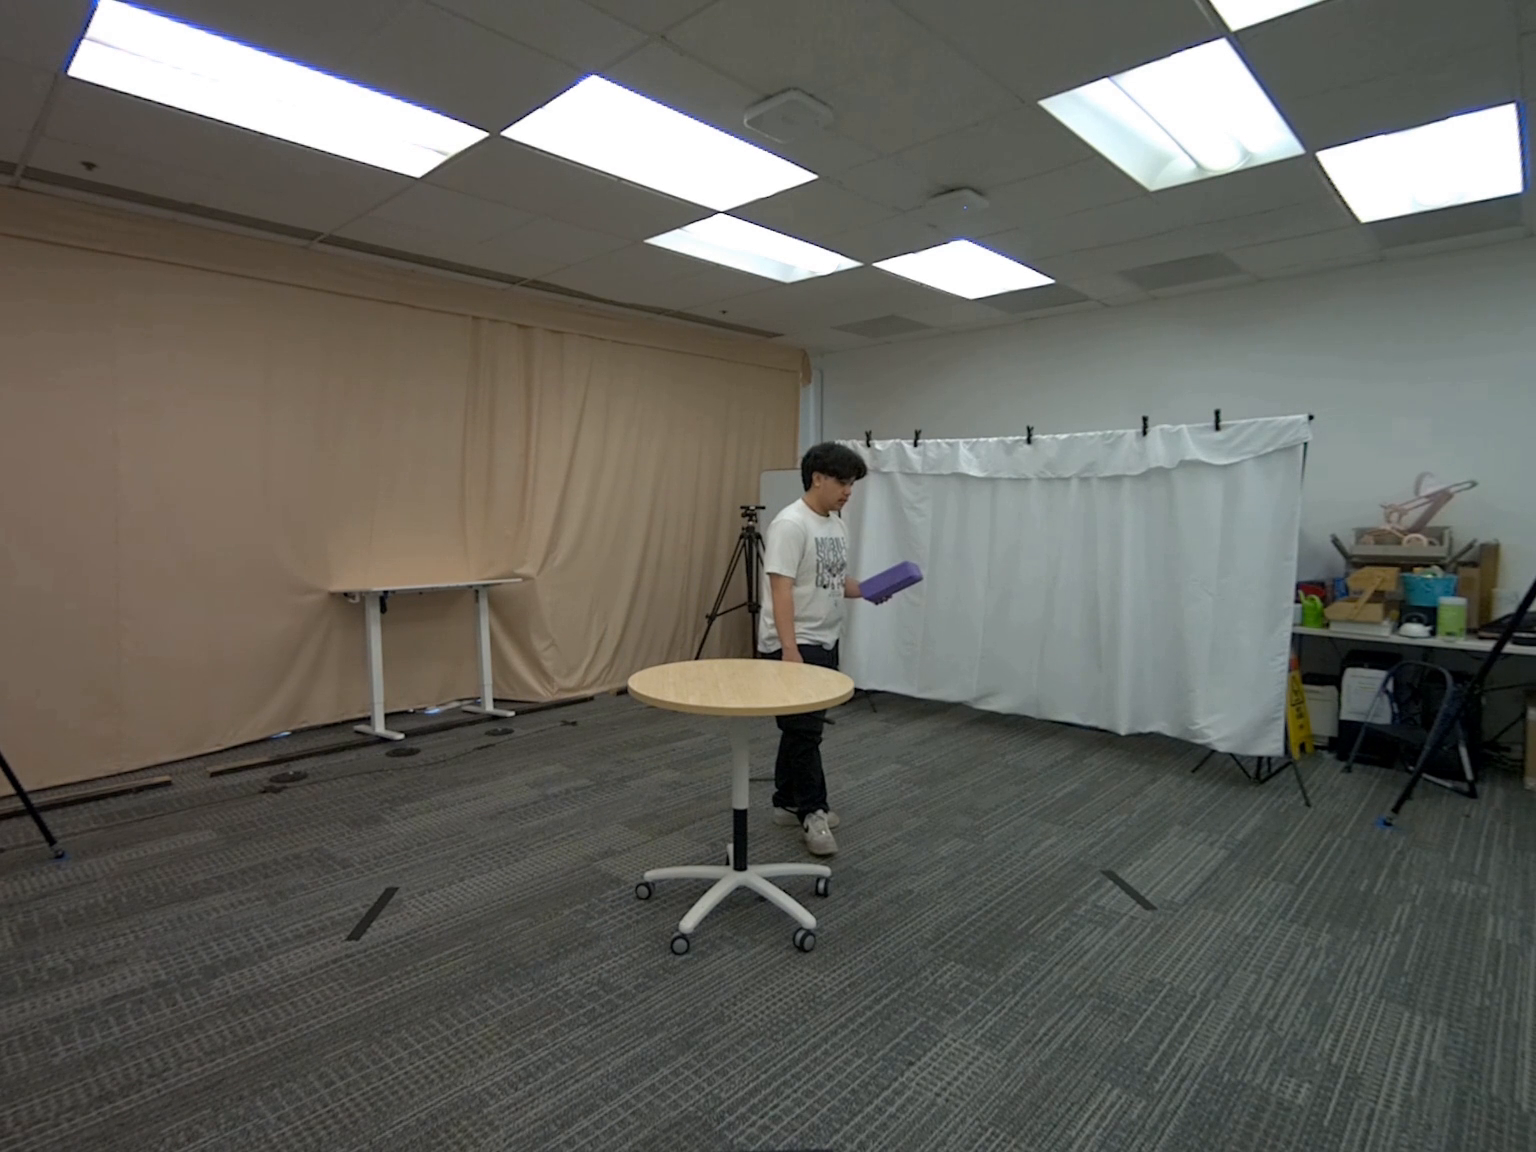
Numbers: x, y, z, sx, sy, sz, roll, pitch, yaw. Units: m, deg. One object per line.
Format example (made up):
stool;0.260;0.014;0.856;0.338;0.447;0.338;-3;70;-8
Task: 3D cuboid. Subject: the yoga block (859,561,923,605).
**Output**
yoga block;0.501;0.024;3.433;0.232;0.078;0.144;-27;-18;21
